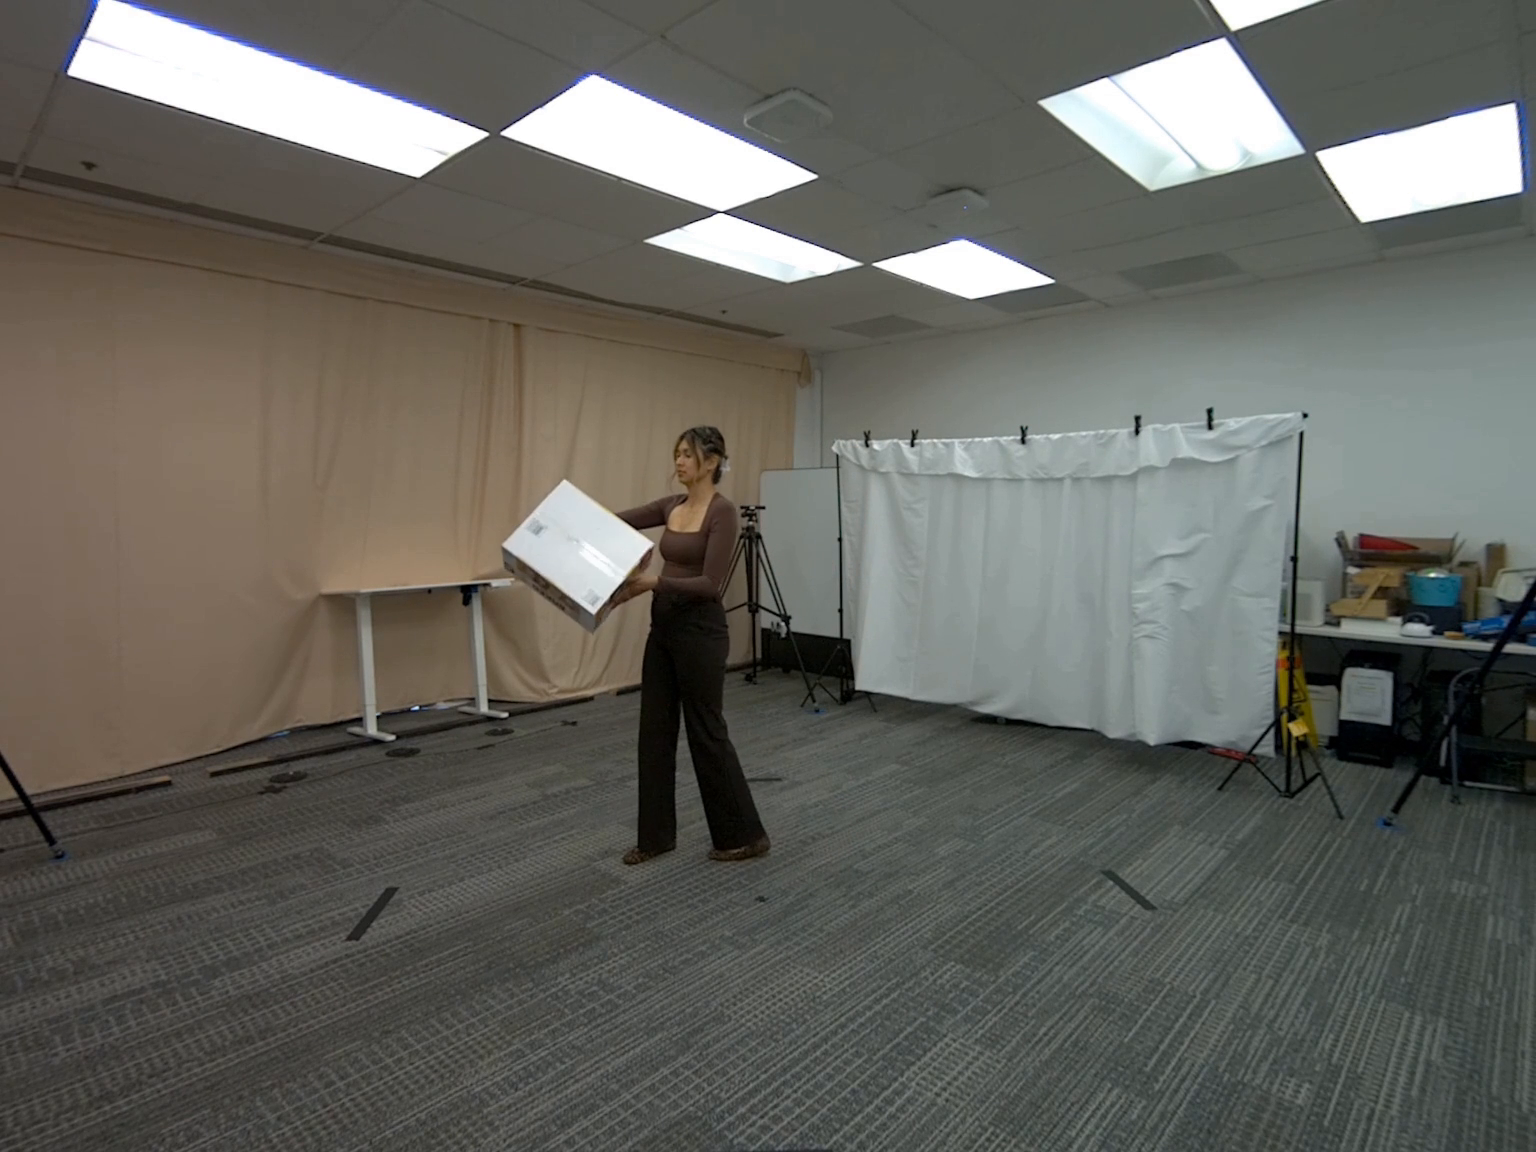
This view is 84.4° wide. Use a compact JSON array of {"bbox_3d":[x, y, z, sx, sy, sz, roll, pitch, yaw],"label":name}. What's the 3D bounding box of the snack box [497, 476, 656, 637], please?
[{"bbox_3d":[-0.666,-0.070,2.958,0.409,0.339,0.205,35,-26,6],"label":"snack box"}]
